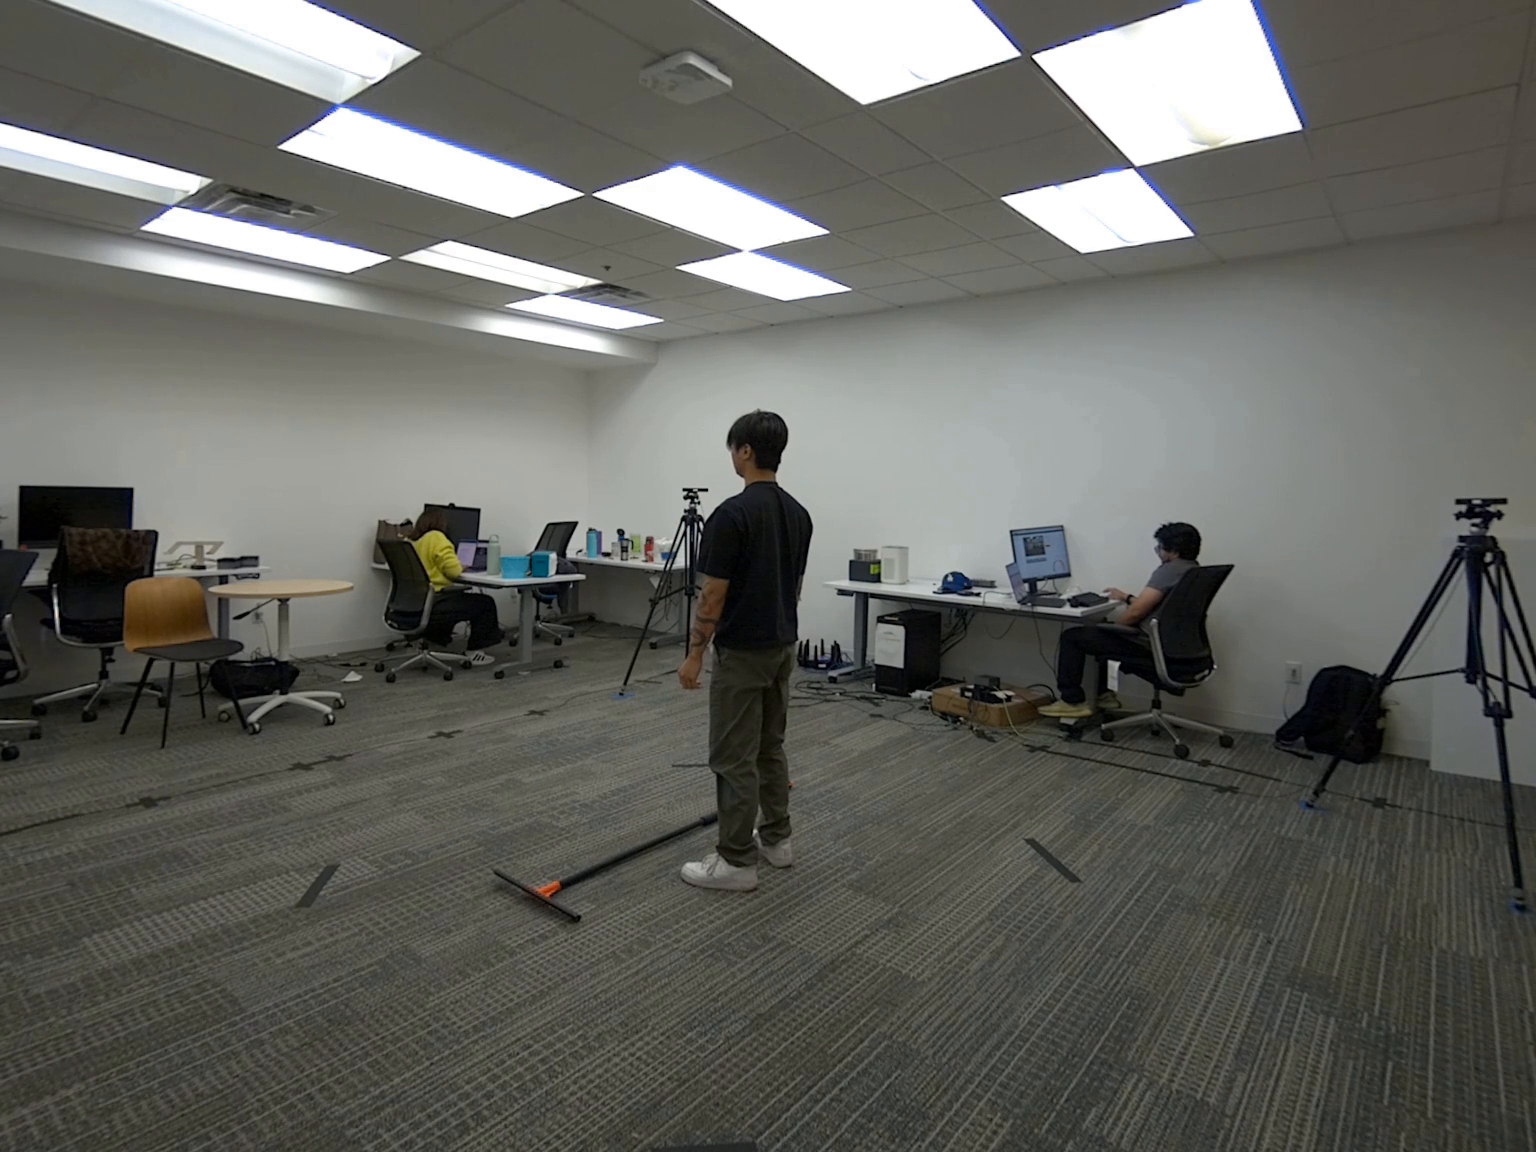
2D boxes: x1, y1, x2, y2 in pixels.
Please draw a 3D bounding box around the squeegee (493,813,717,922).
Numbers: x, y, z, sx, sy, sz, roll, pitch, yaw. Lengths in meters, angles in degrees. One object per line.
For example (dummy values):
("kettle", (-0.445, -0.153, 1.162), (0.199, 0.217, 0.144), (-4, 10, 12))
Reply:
("squeegee", (-0.344, 0.999, 3.402), (0.453, 0.053, 1.492), (8, 8, 38))
